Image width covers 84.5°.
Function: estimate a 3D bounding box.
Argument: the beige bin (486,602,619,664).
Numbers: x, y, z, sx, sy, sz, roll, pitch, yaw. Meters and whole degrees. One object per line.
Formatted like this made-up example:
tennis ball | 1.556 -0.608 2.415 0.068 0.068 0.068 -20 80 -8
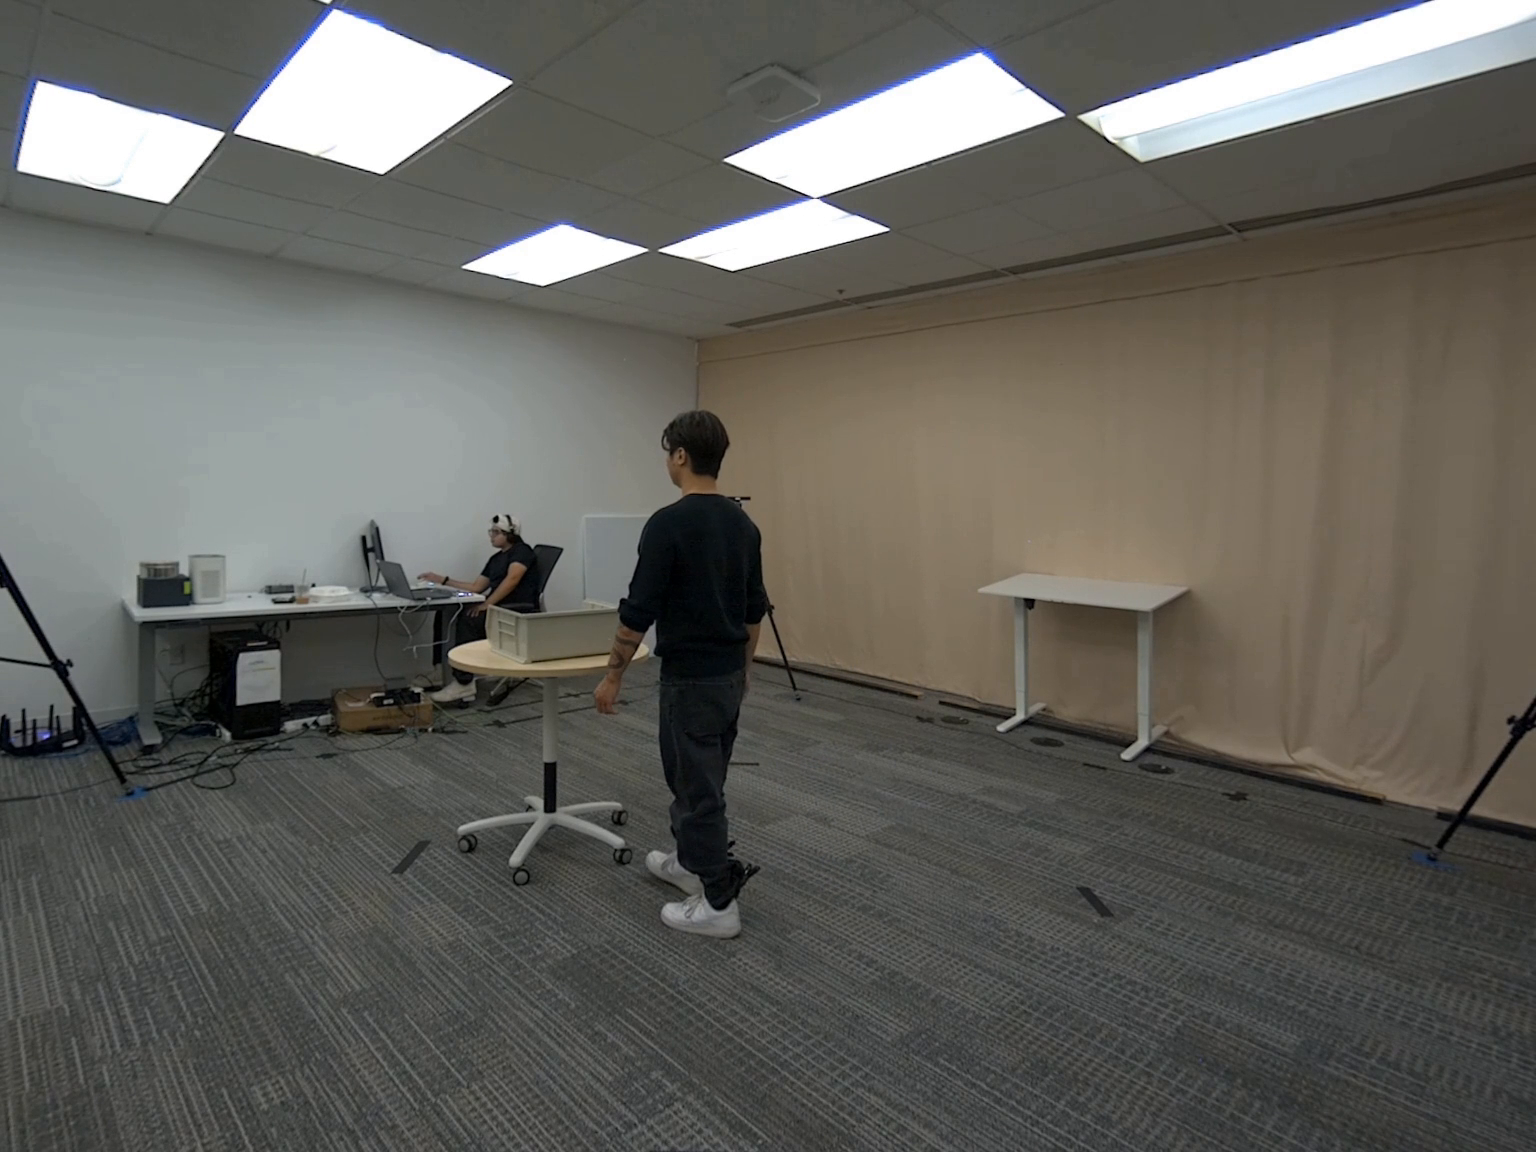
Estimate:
beige bin | -0.829 0.201 3.261 0.413 0.188 0.387 -2 7 -38
